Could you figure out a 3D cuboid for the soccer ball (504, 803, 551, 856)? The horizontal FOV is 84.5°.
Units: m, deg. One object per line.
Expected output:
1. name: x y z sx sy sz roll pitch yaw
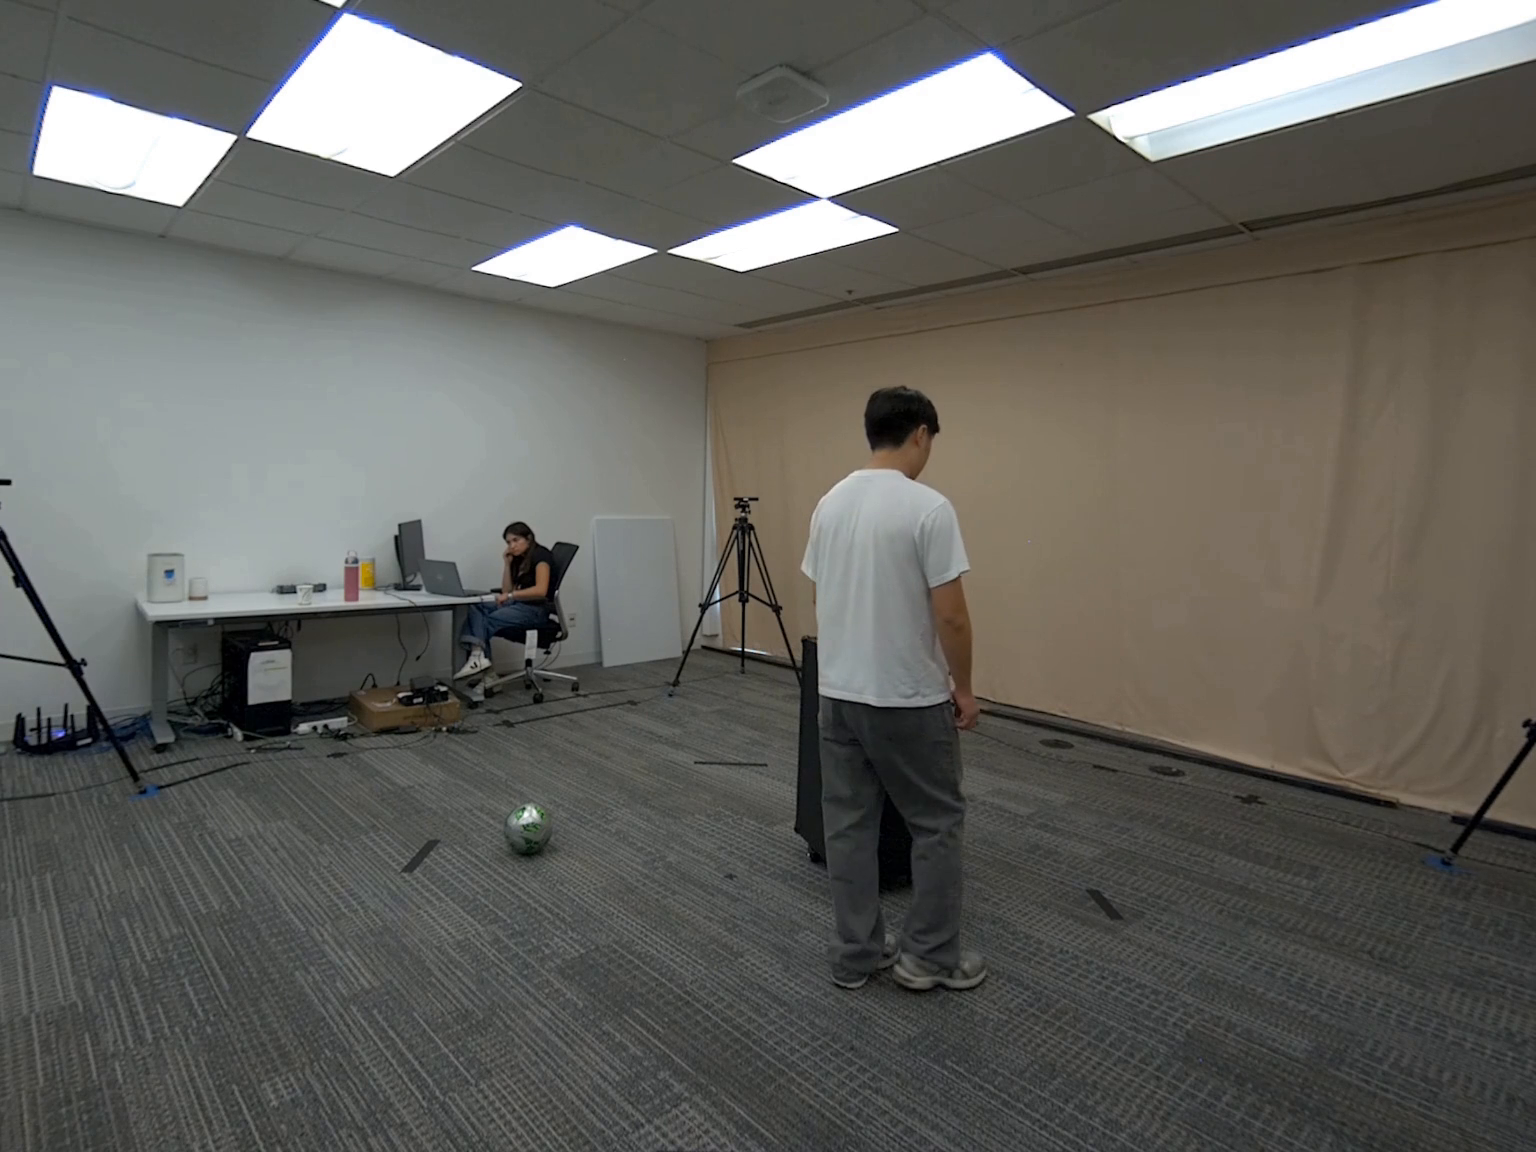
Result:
1. soccer ball: -0.933 0.978 3.272 0.187 0.187 0.188 1 4 -1
